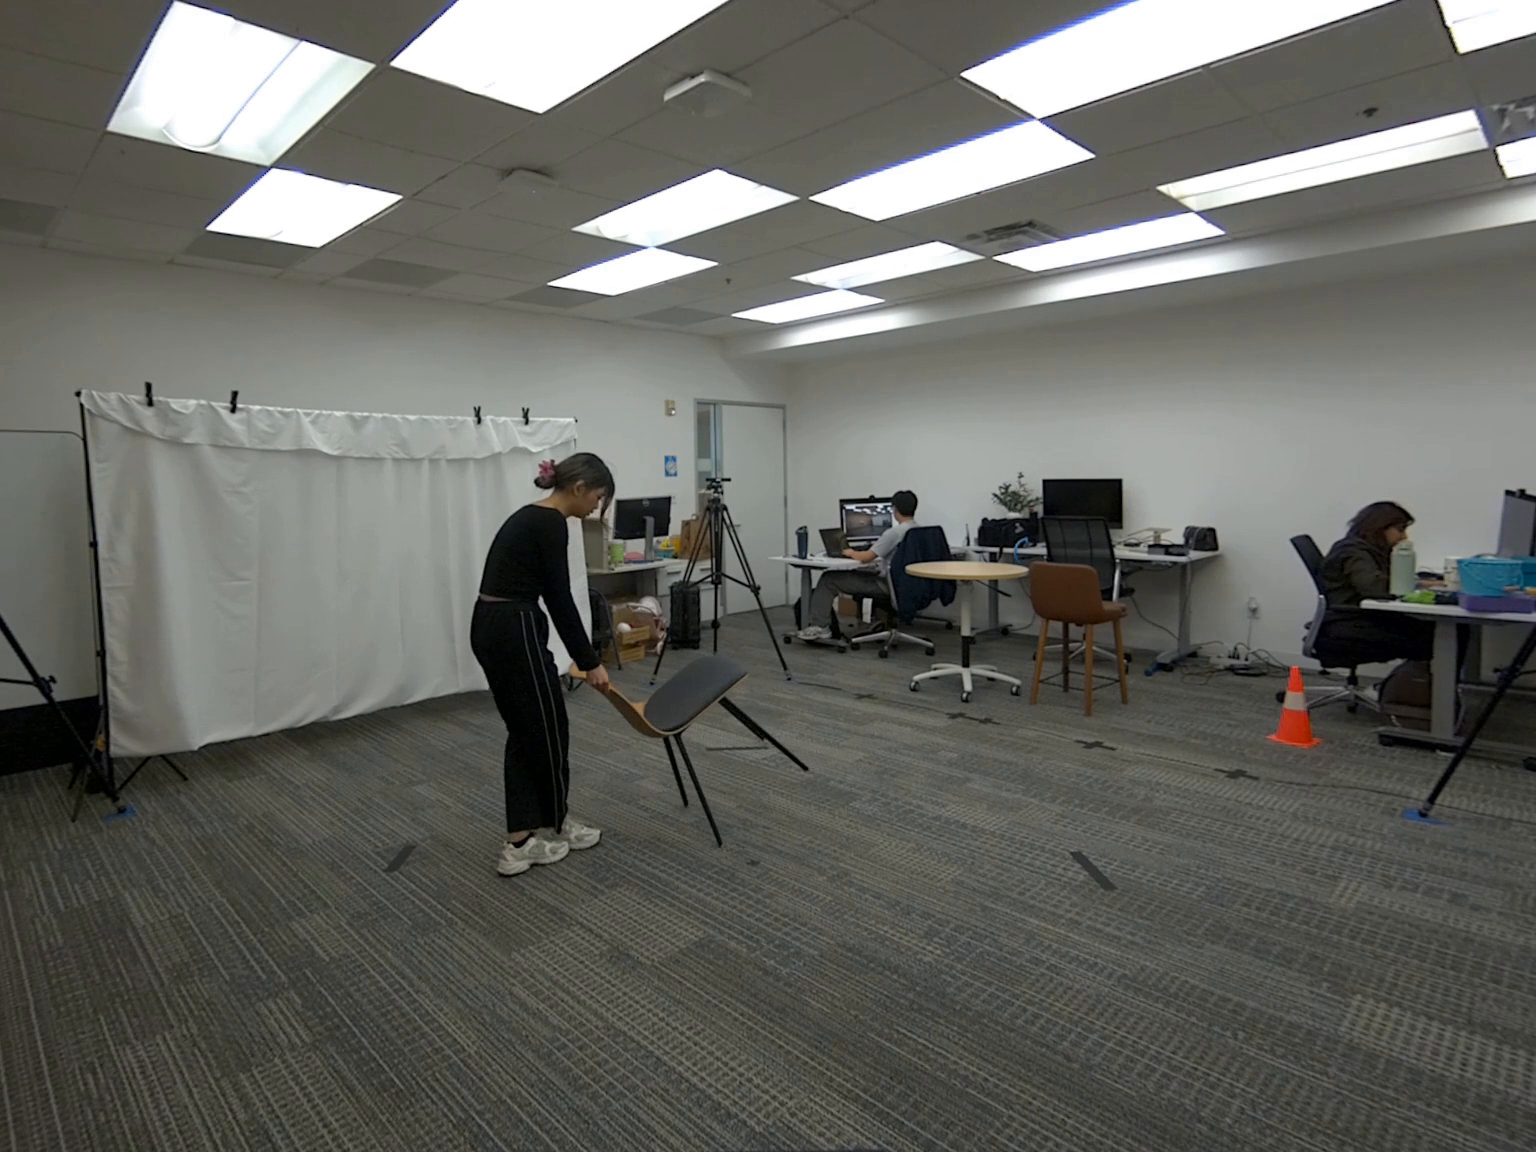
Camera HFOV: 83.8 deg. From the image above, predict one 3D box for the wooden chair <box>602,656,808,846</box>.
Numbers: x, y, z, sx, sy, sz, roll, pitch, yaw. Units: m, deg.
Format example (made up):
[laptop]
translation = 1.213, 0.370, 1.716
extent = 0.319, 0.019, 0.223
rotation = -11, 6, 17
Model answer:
[wooden chair]
translation = -0.317, 0.525, 3.413
extent = 0.522, 0.860, 0.488
rotation = -42, 16, -14
